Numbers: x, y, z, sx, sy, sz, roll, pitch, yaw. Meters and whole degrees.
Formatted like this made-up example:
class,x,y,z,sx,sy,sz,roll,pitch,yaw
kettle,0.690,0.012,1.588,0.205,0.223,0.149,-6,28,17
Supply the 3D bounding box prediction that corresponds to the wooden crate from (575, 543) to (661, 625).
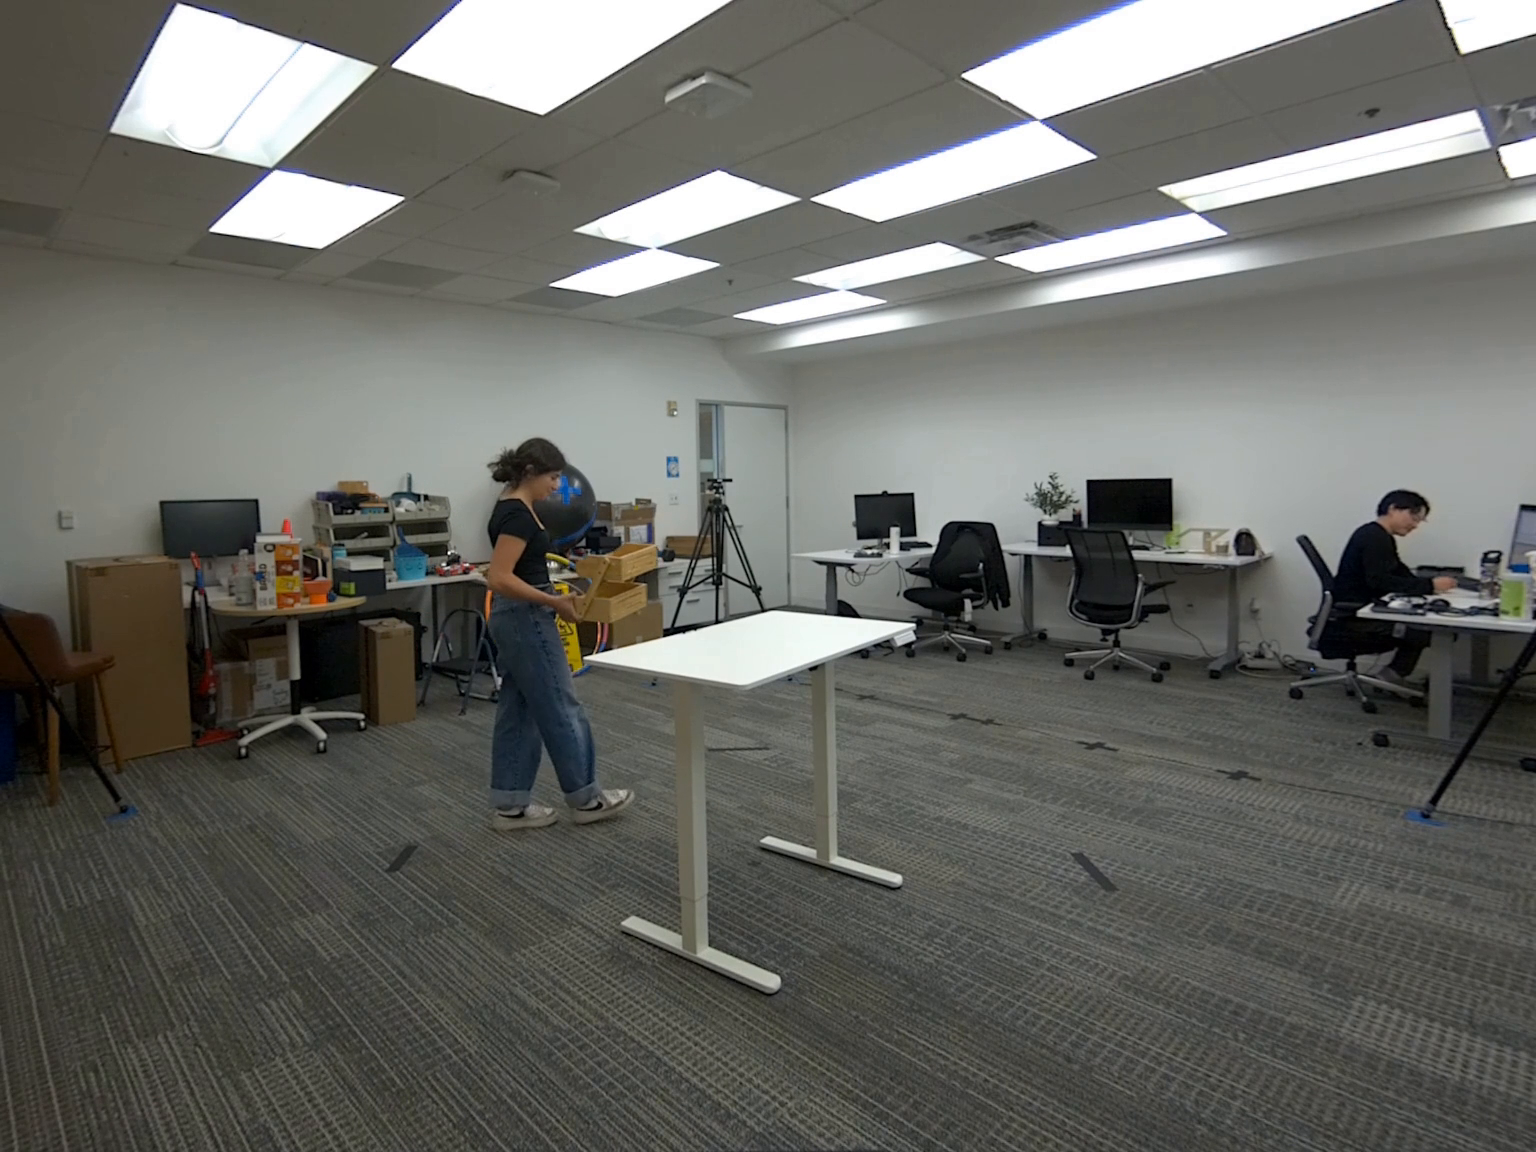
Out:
class,x,y,z,sx,sy,sz,roll,pitch,yaw
wooden crate,-0.656,0.019,3.425,0.308,0.271,0.321,4,12,19
